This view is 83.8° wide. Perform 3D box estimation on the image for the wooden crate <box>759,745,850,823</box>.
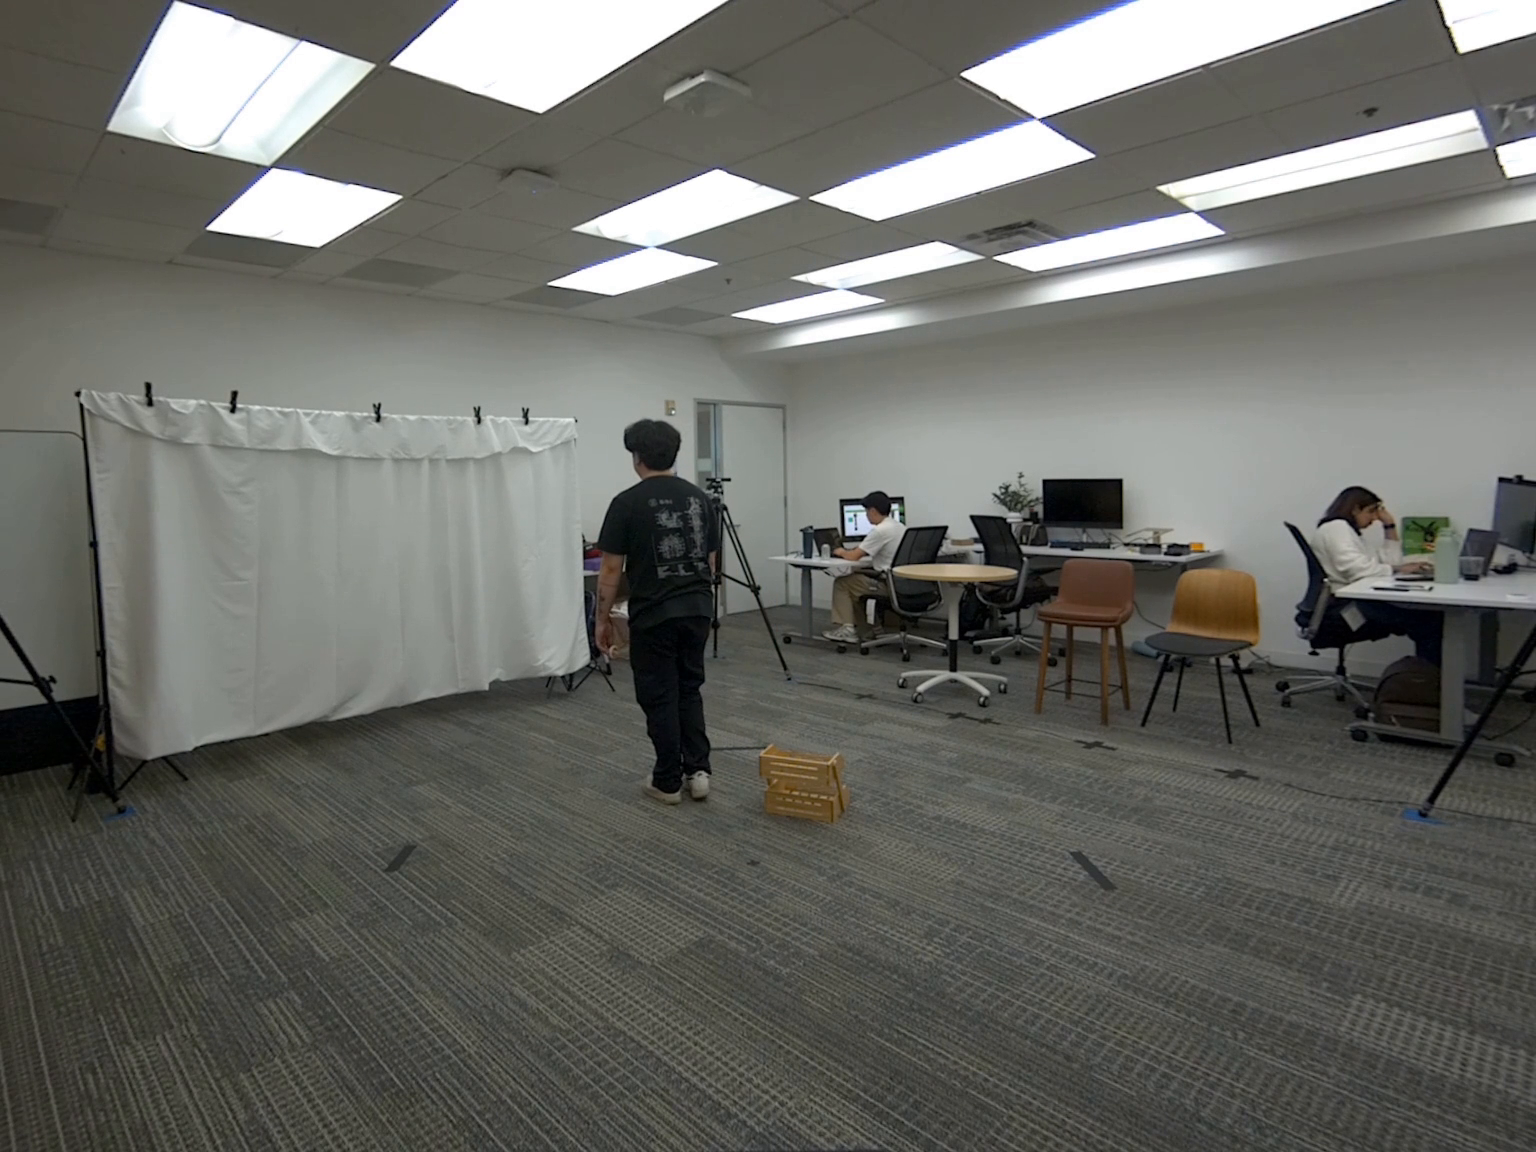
[{"bbox_3d":[0.163,0.851,3.599,0.331,0.272,0.297,1,6,23],"label":"wooden crate"}]
